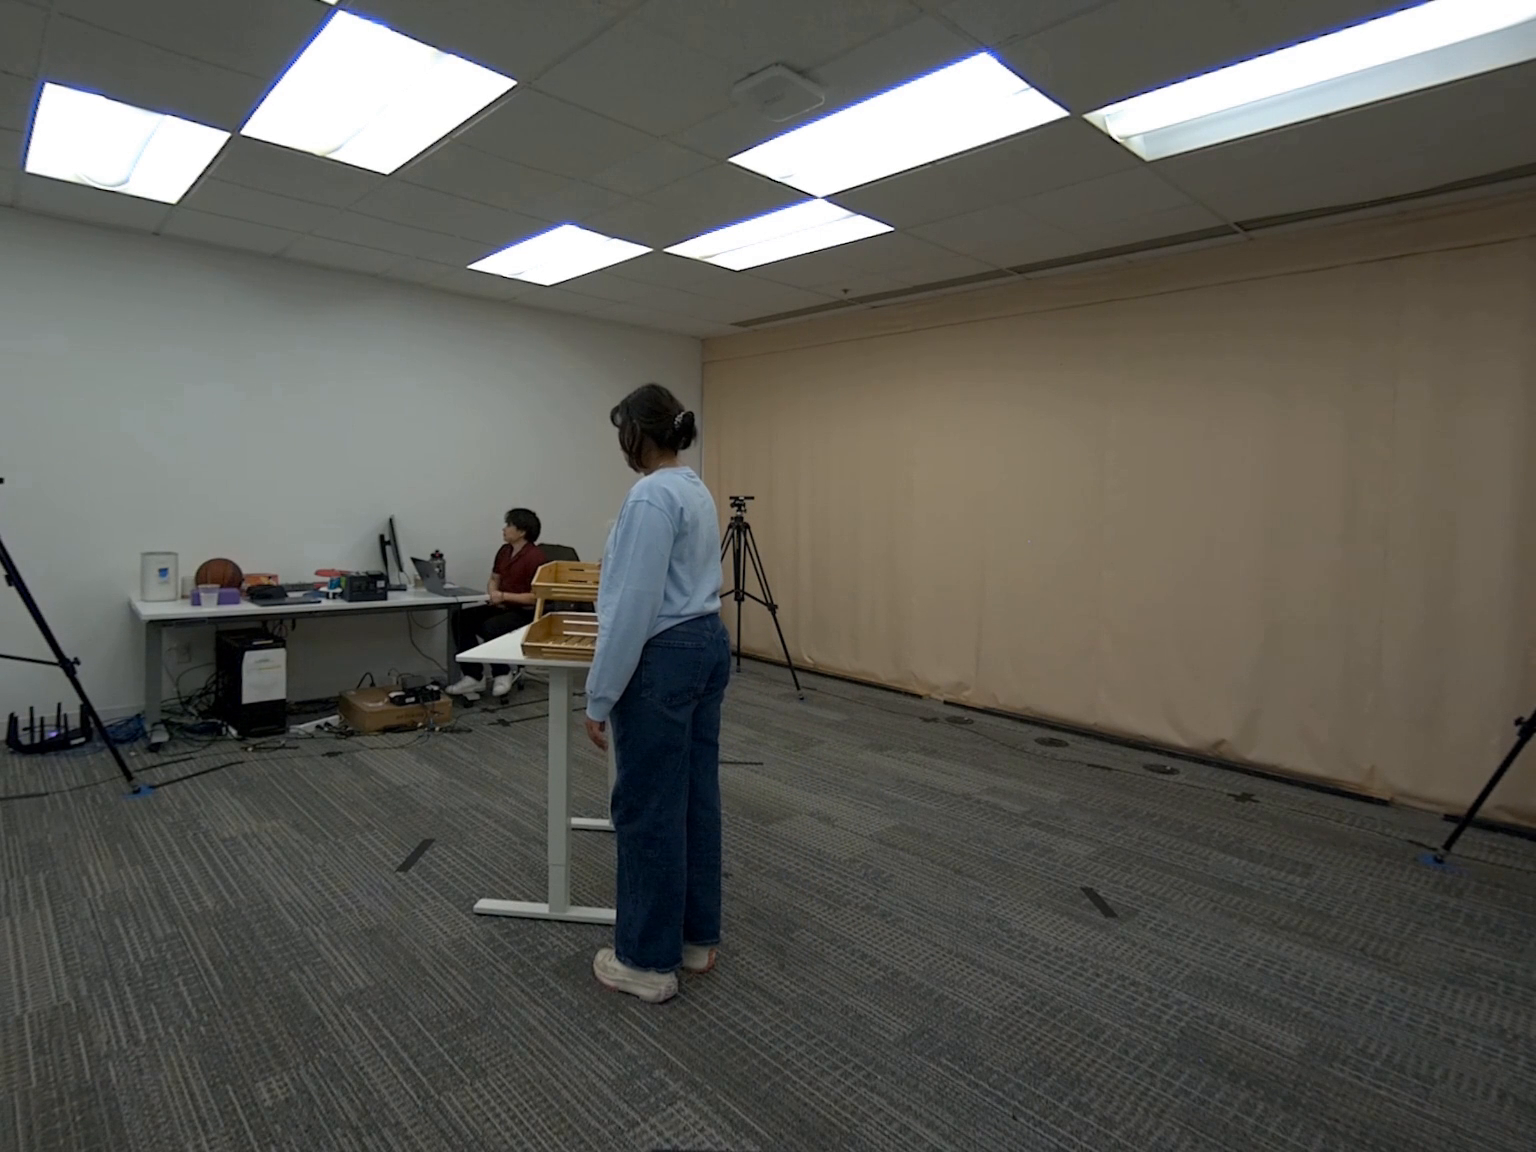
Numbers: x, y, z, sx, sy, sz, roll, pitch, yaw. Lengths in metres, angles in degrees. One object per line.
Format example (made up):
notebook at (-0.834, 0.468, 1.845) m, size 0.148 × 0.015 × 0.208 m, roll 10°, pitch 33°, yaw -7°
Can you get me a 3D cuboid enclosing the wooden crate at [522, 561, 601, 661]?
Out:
wooden crate at (-0.609, 0.108, 2.691) m, size 0.327 × 0.272 × 0.301 m, roll 3°, pitch 6°, yaw 8°
